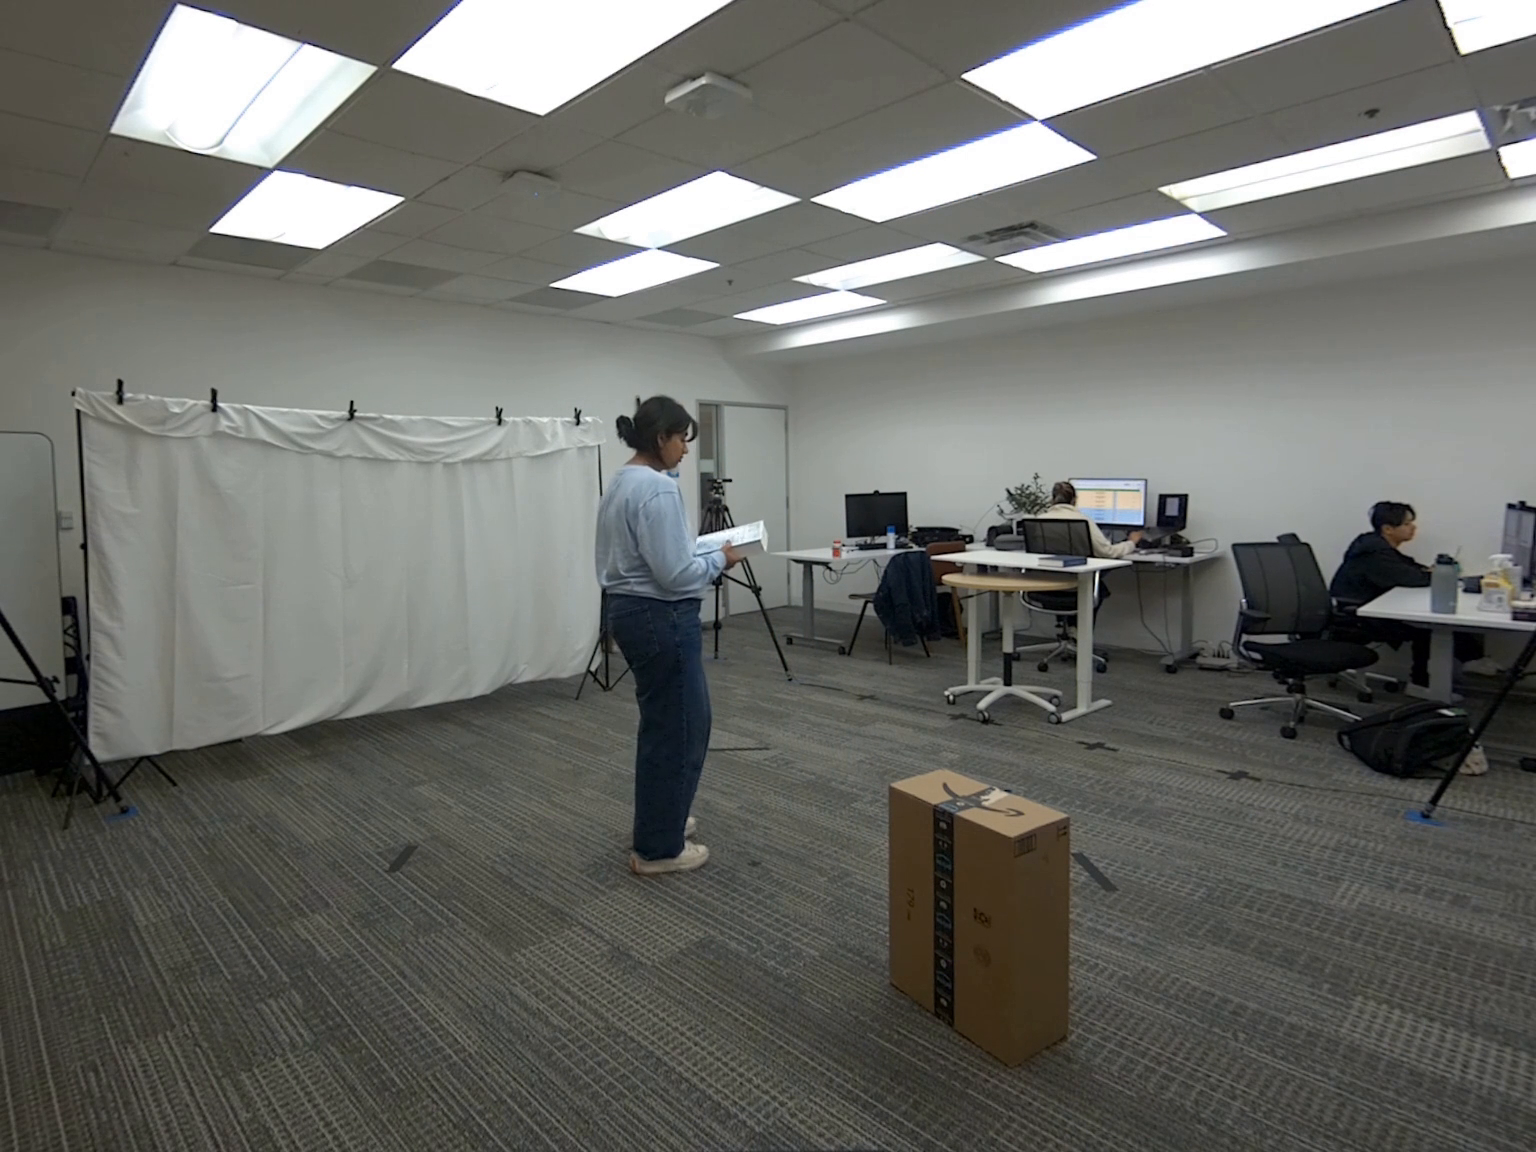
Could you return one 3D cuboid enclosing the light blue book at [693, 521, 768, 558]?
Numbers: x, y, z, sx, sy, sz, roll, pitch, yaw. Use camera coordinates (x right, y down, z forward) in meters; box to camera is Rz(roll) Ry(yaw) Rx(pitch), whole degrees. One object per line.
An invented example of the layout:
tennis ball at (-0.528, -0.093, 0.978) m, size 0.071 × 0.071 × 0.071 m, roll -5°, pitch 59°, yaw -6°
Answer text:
light blue book at (-0.130, -0.112, 3.114) m, size 0.262 × 0.057 × 0.195 m, roll -15°, pitch 24°, yaw 3°
